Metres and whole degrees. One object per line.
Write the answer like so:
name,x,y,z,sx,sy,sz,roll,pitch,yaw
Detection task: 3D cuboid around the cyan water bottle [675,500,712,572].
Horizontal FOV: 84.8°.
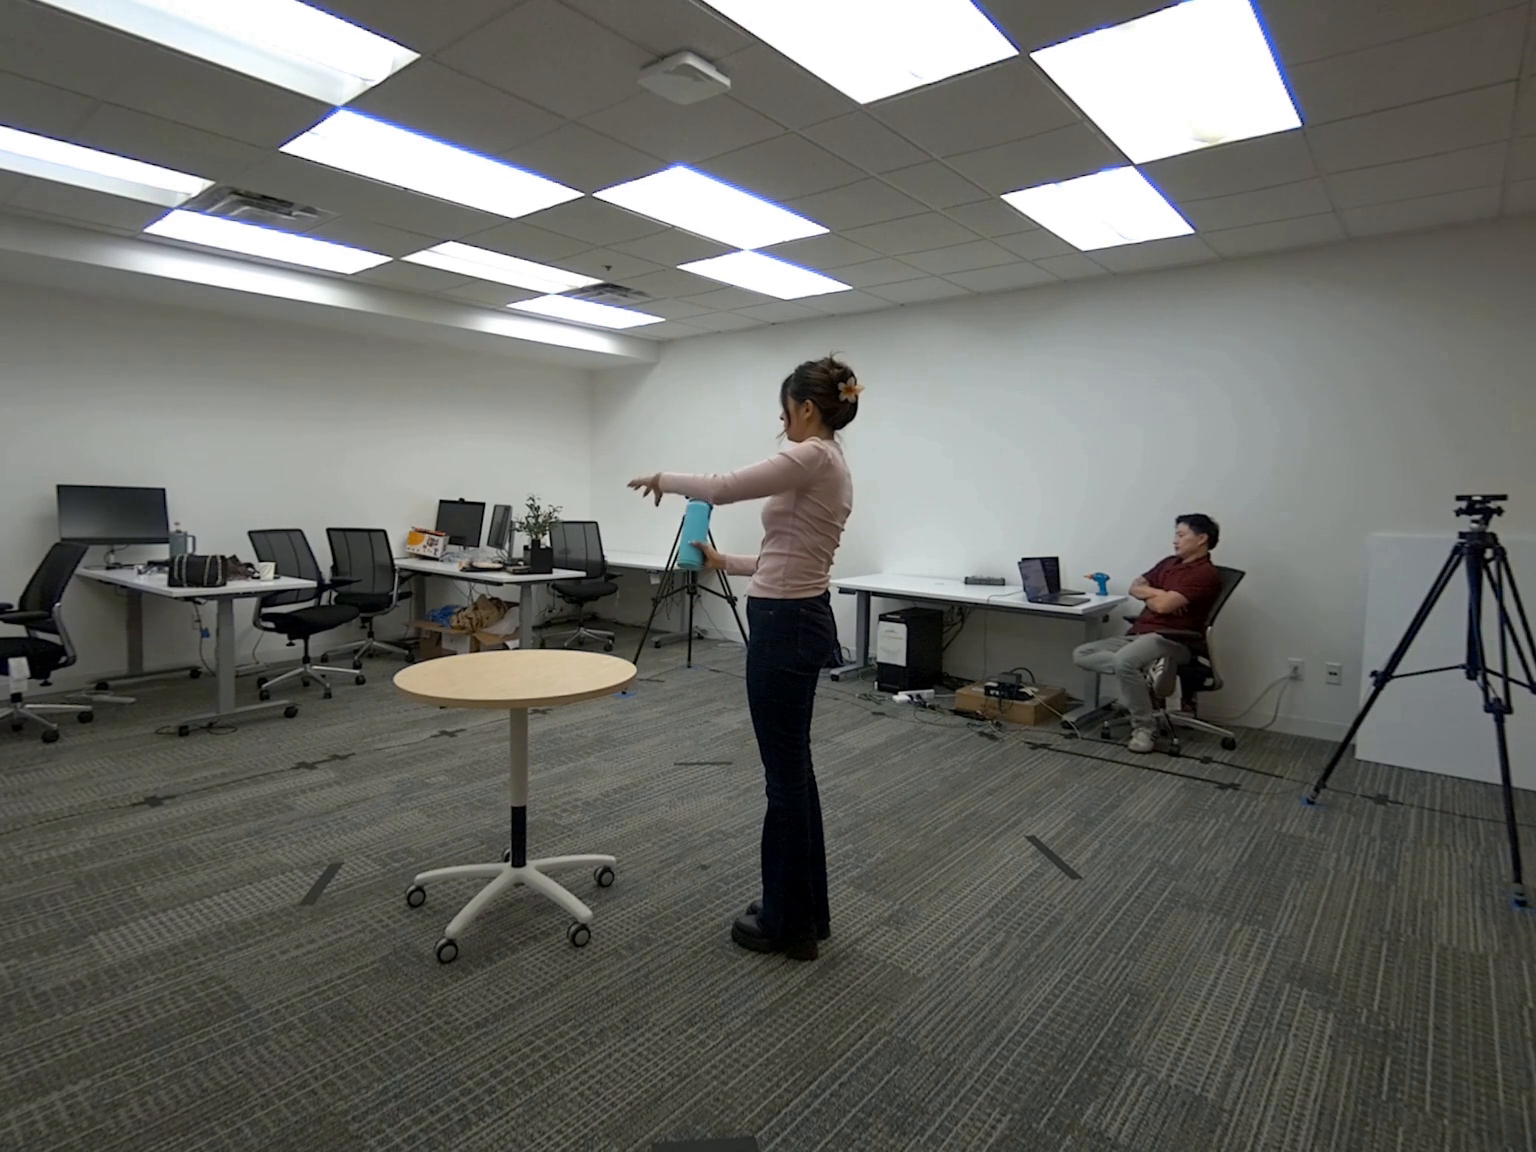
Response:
cyan water bottle,-0.254,-0.166,2.936,0.092,0.287,0.091,8,-18,1
